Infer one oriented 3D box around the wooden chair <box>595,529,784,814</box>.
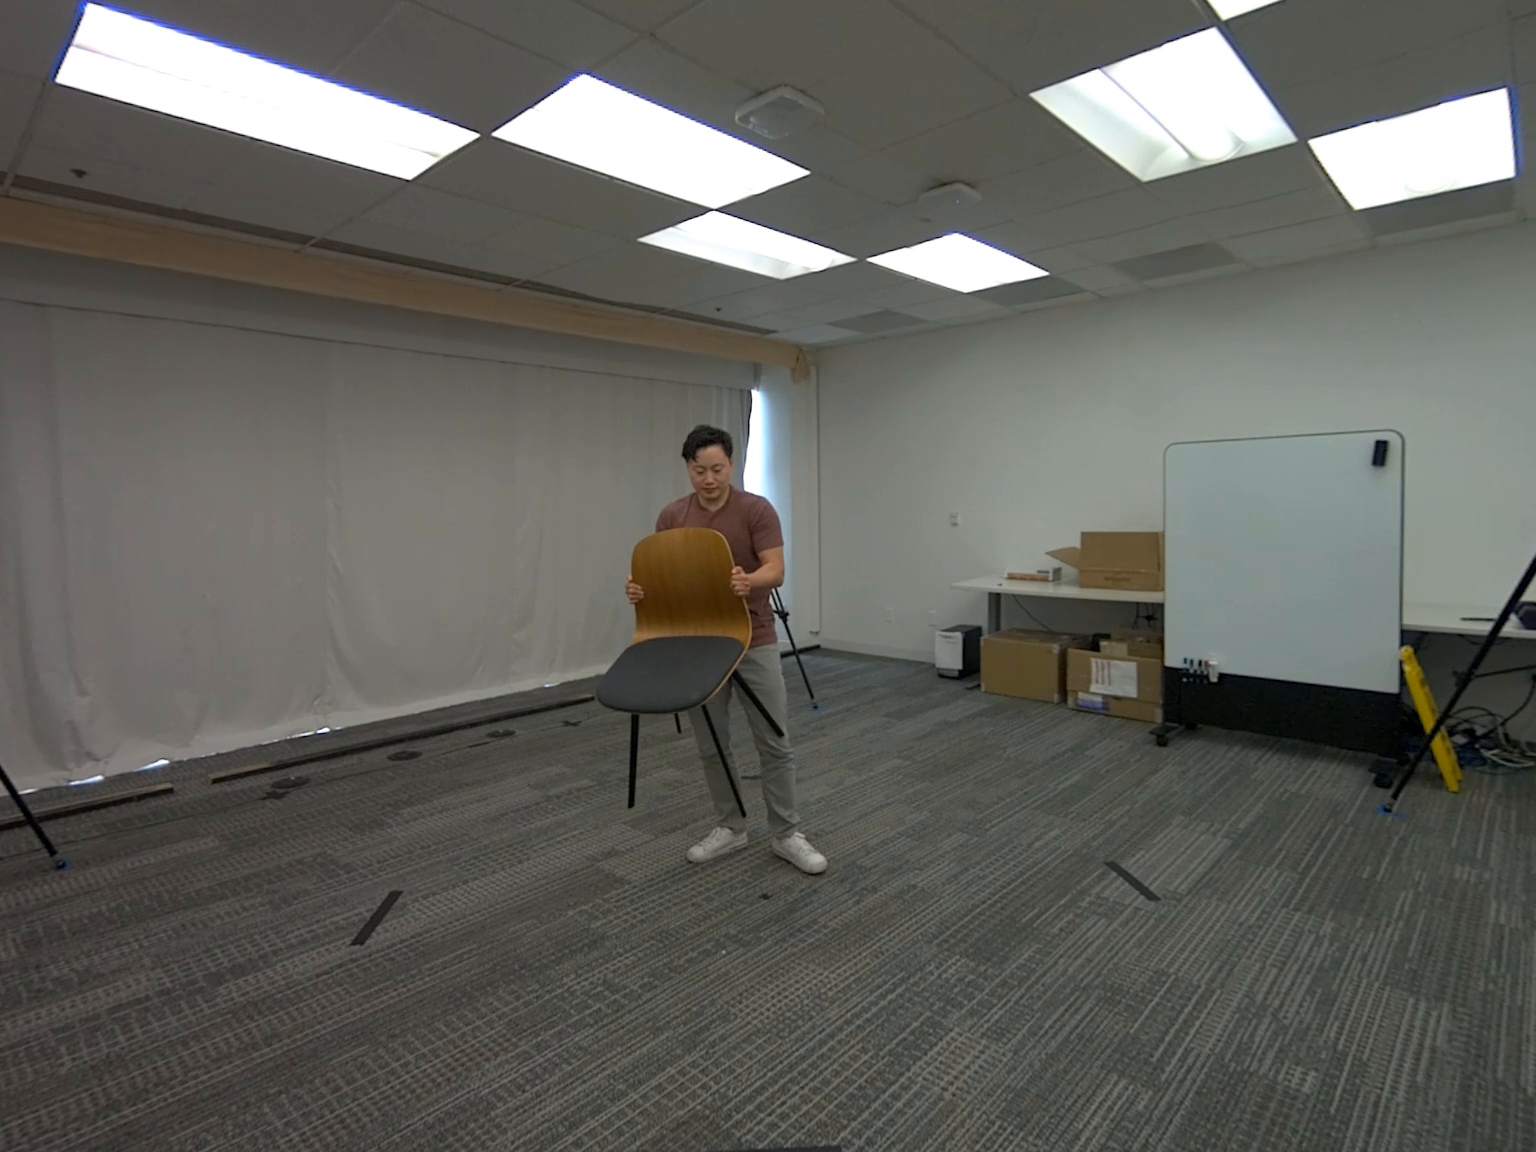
[{"bbox_3d":[-0.297,0.337,2.900,0.489,0.865,0.518,-2,19,23],"label":"wooden chair"}]
